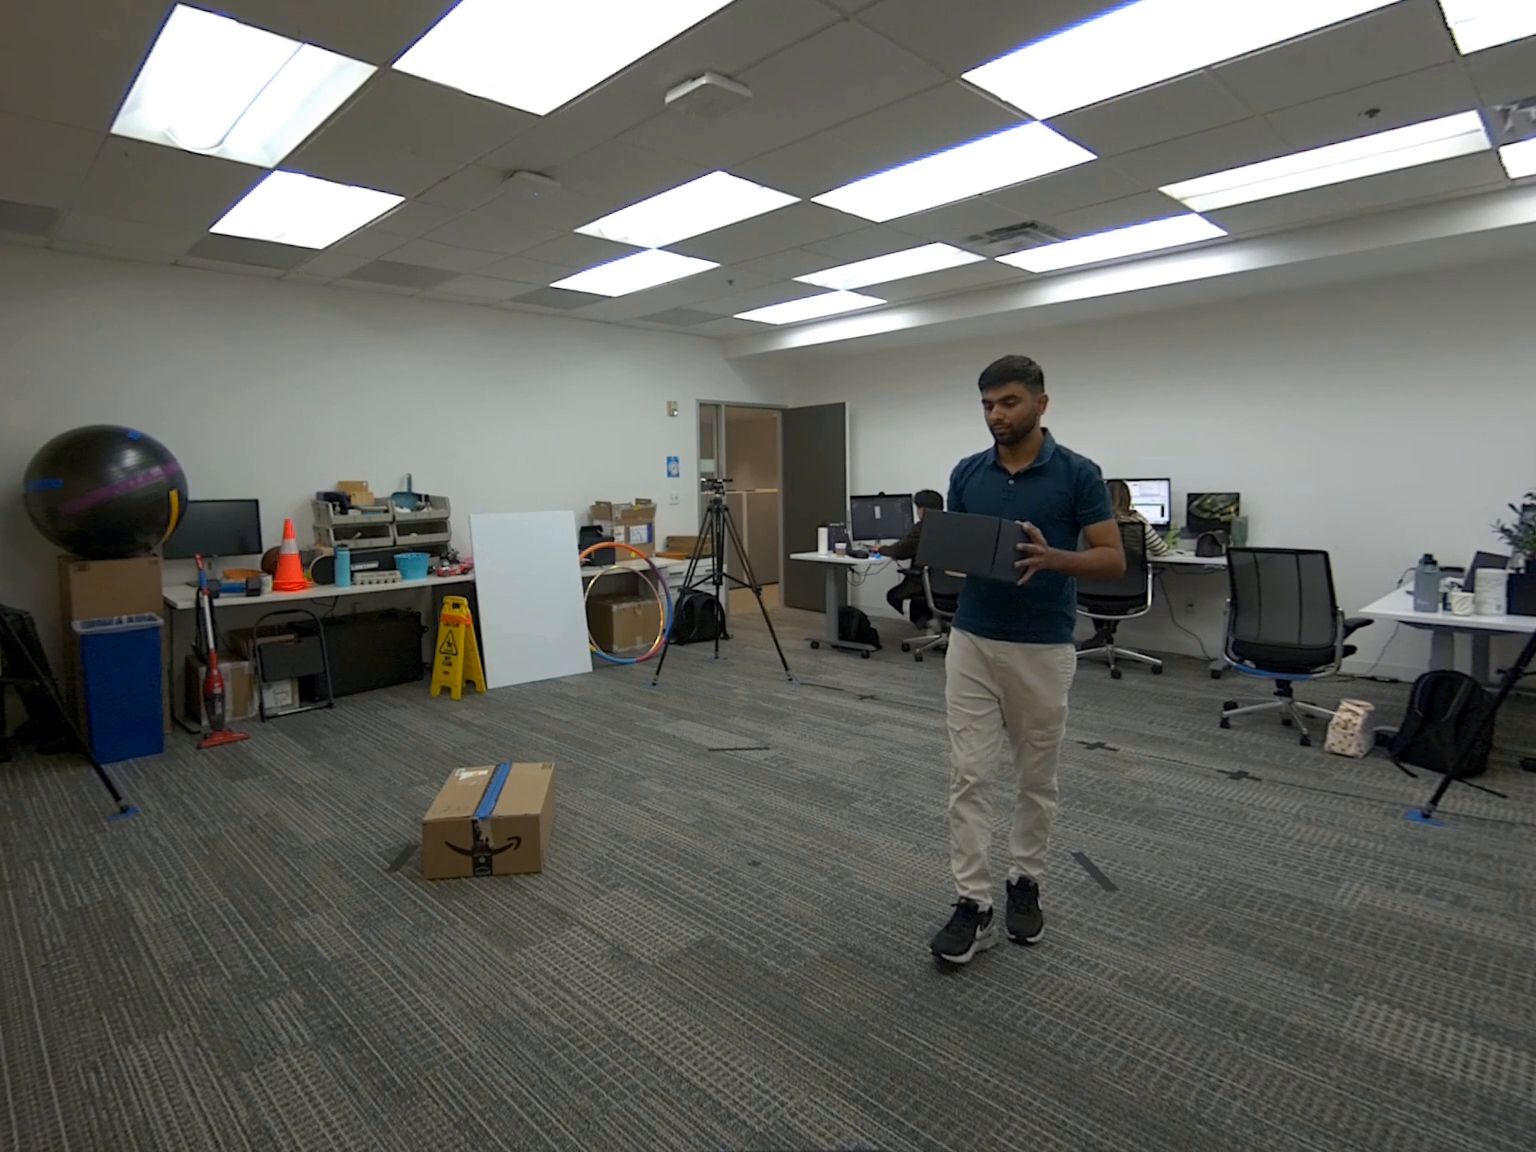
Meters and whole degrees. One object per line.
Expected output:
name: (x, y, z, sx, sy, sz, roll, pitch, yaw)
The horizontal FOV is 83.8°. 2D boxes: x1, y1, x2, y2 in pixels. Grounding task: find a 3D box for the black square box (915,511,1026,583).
black square box: (0.544, -0.081, 2.311, 0.235, 0.156, 0.210, 11, 2, 40)
